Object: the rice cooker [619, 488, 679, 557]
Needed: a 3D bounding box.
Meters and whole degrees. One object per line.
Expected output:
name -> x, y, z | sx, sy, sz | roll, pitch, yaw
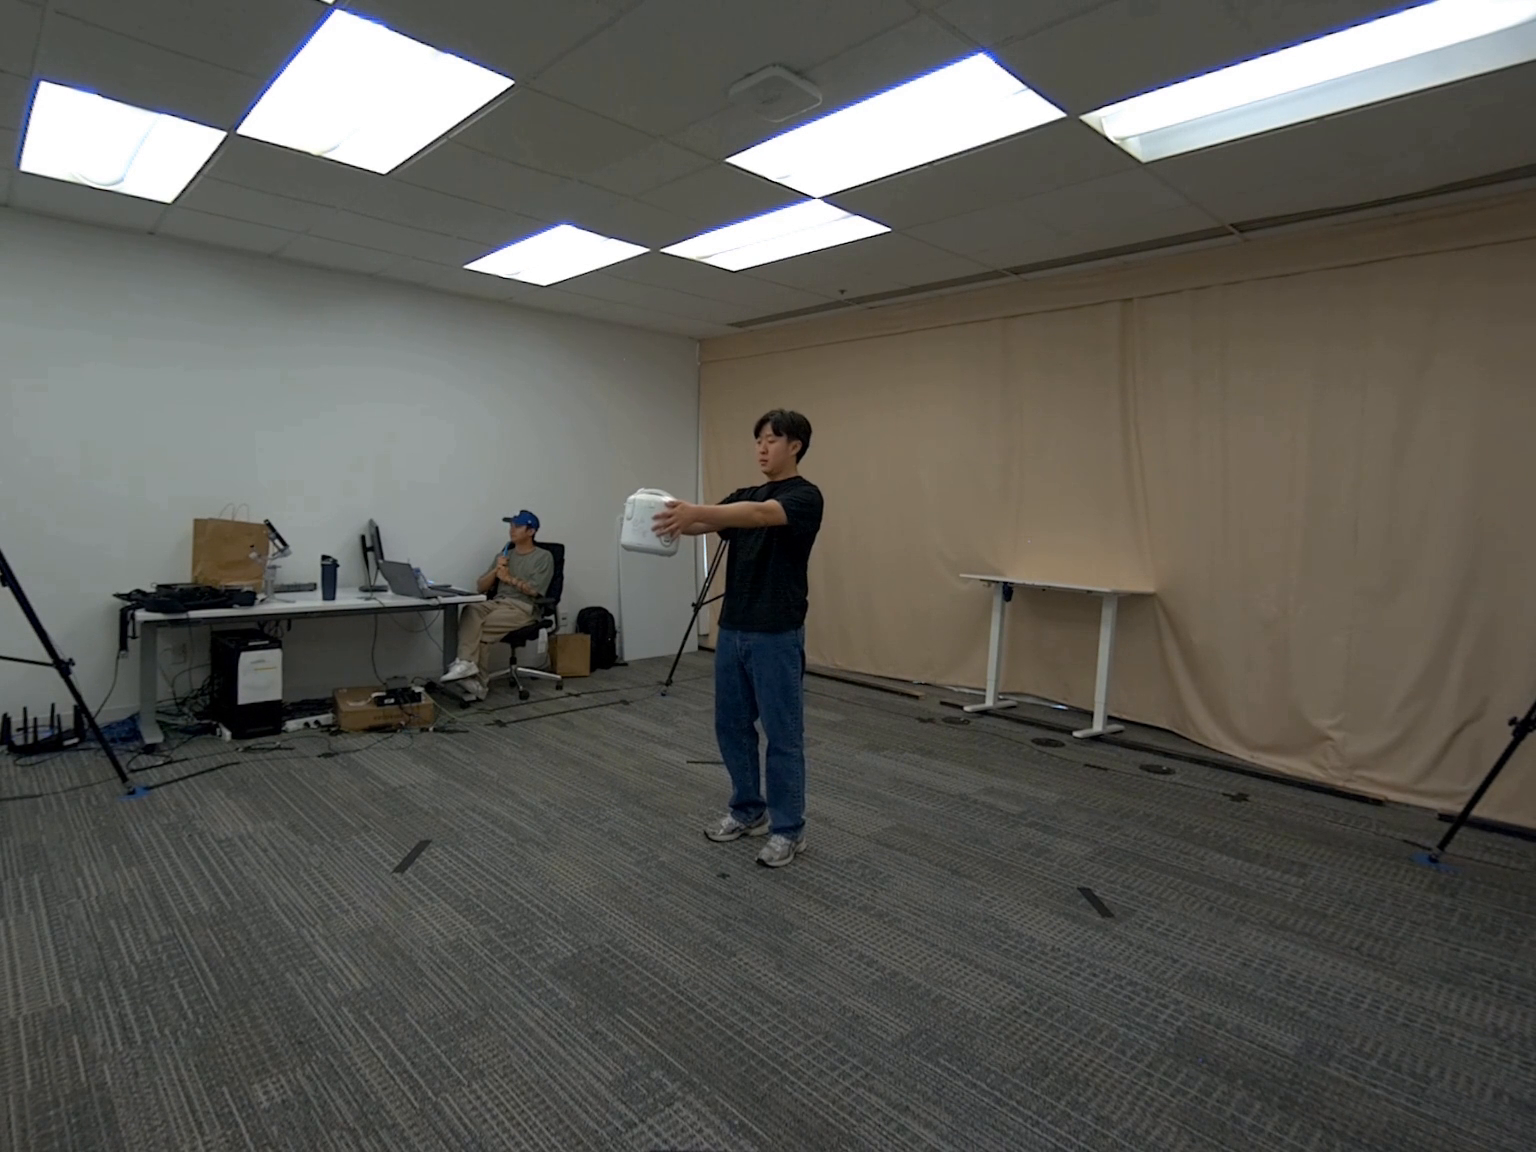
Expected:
rice cooker -> -0.410, -0.185, 2.995 | 0.215, 0.233, 0.223 | 7, 0, -39
